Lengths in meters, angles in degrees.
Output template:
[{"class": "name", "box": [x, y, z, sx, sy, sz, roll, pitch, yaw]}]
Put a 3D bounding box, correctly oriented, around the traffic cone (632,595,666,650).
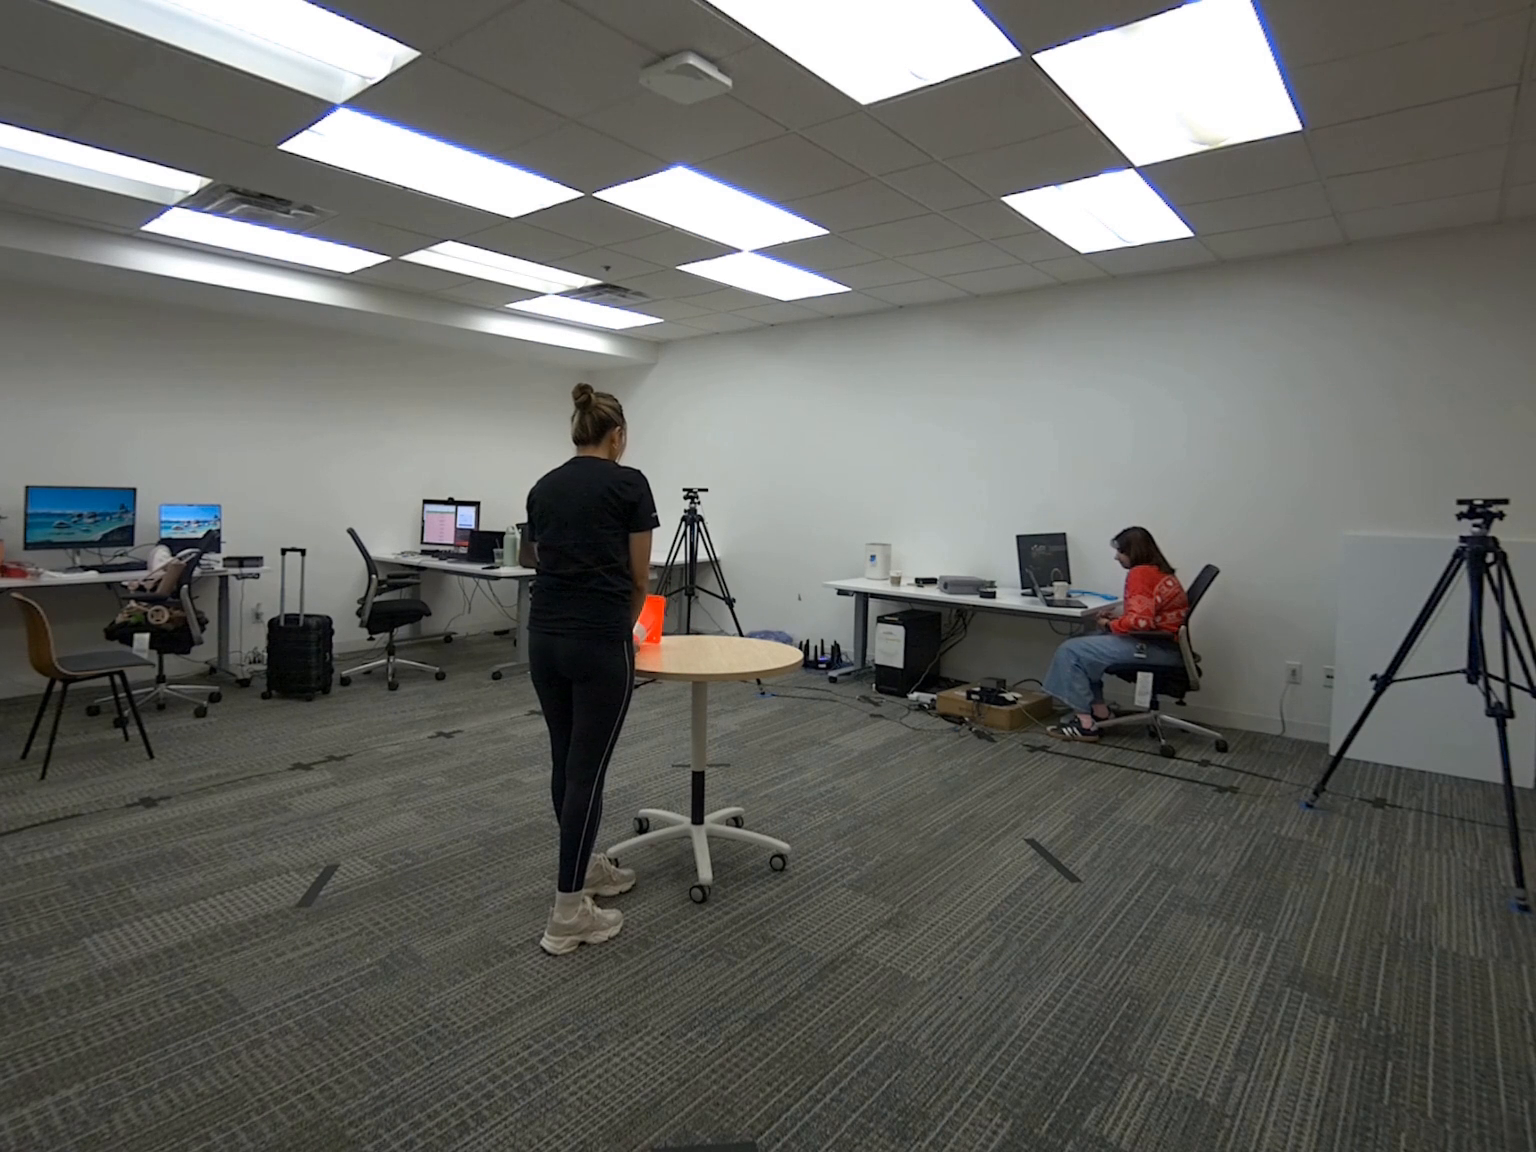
[{"class": "traffic cone", "box": [-0.518, 0.214, 3.115, 0.202, 0.203, 0.390, 9, 14, -7]}]
